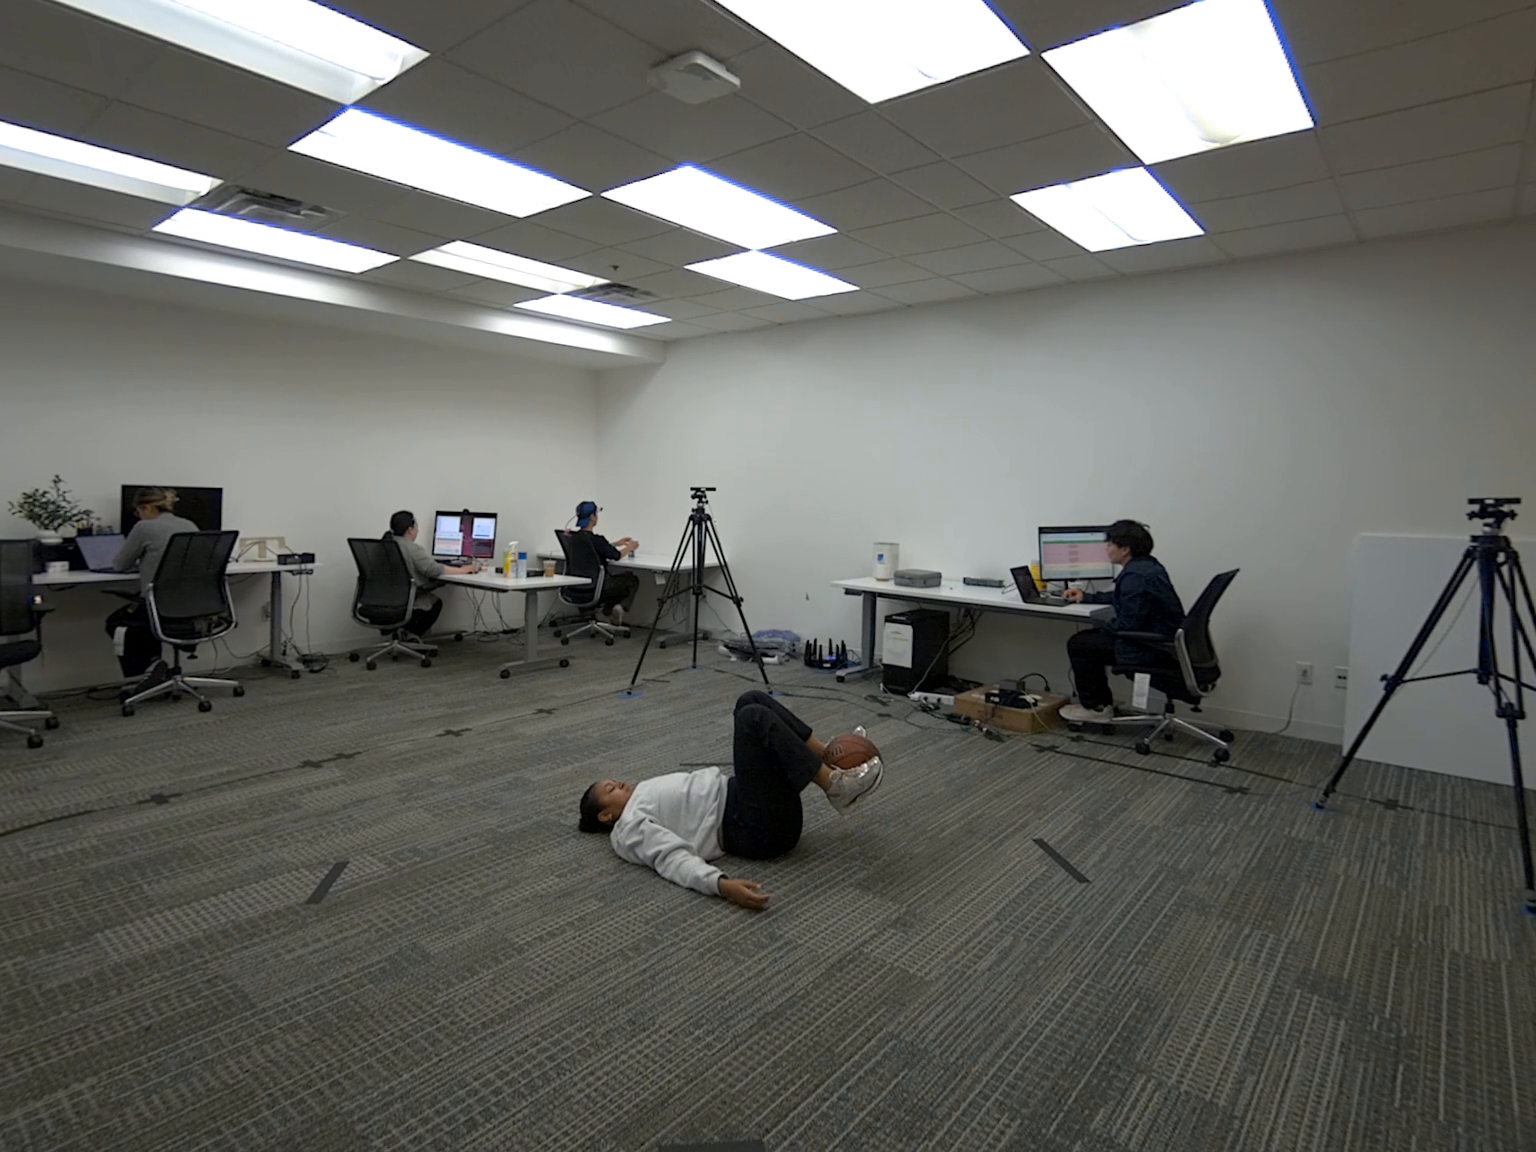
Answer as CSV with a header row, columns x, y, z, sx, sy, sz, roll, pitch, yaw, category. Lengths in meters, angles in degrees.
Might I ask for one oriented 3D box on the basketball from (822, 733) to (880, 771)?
x,y,z,sx,sy,sz,roll,pitch,yaw,category
0.315,0.727,3.305,0.236,0.234,0.238,-2,8,-2,basketball
